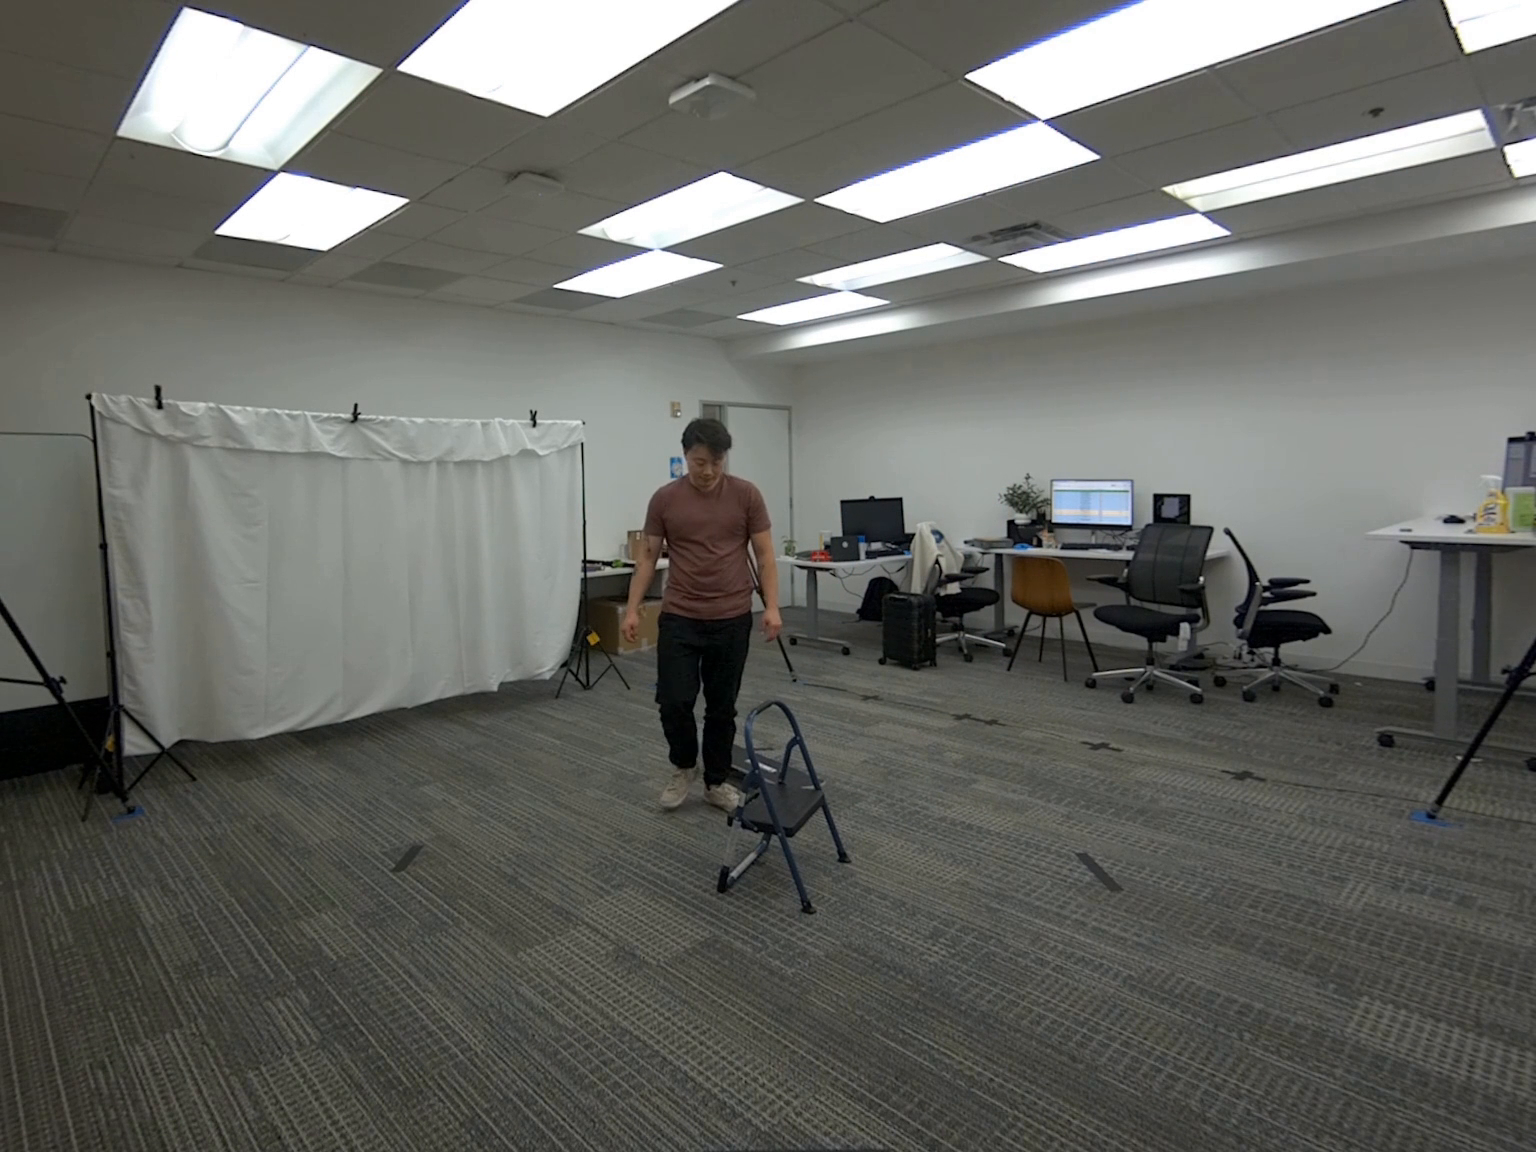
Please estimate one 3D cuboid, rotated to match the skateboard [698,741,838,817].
[{"bbox_3d":[-0.025,0.903,3.915,0.188,0.110,0.809,-5,7,-36],"label":"skateboard"}]
